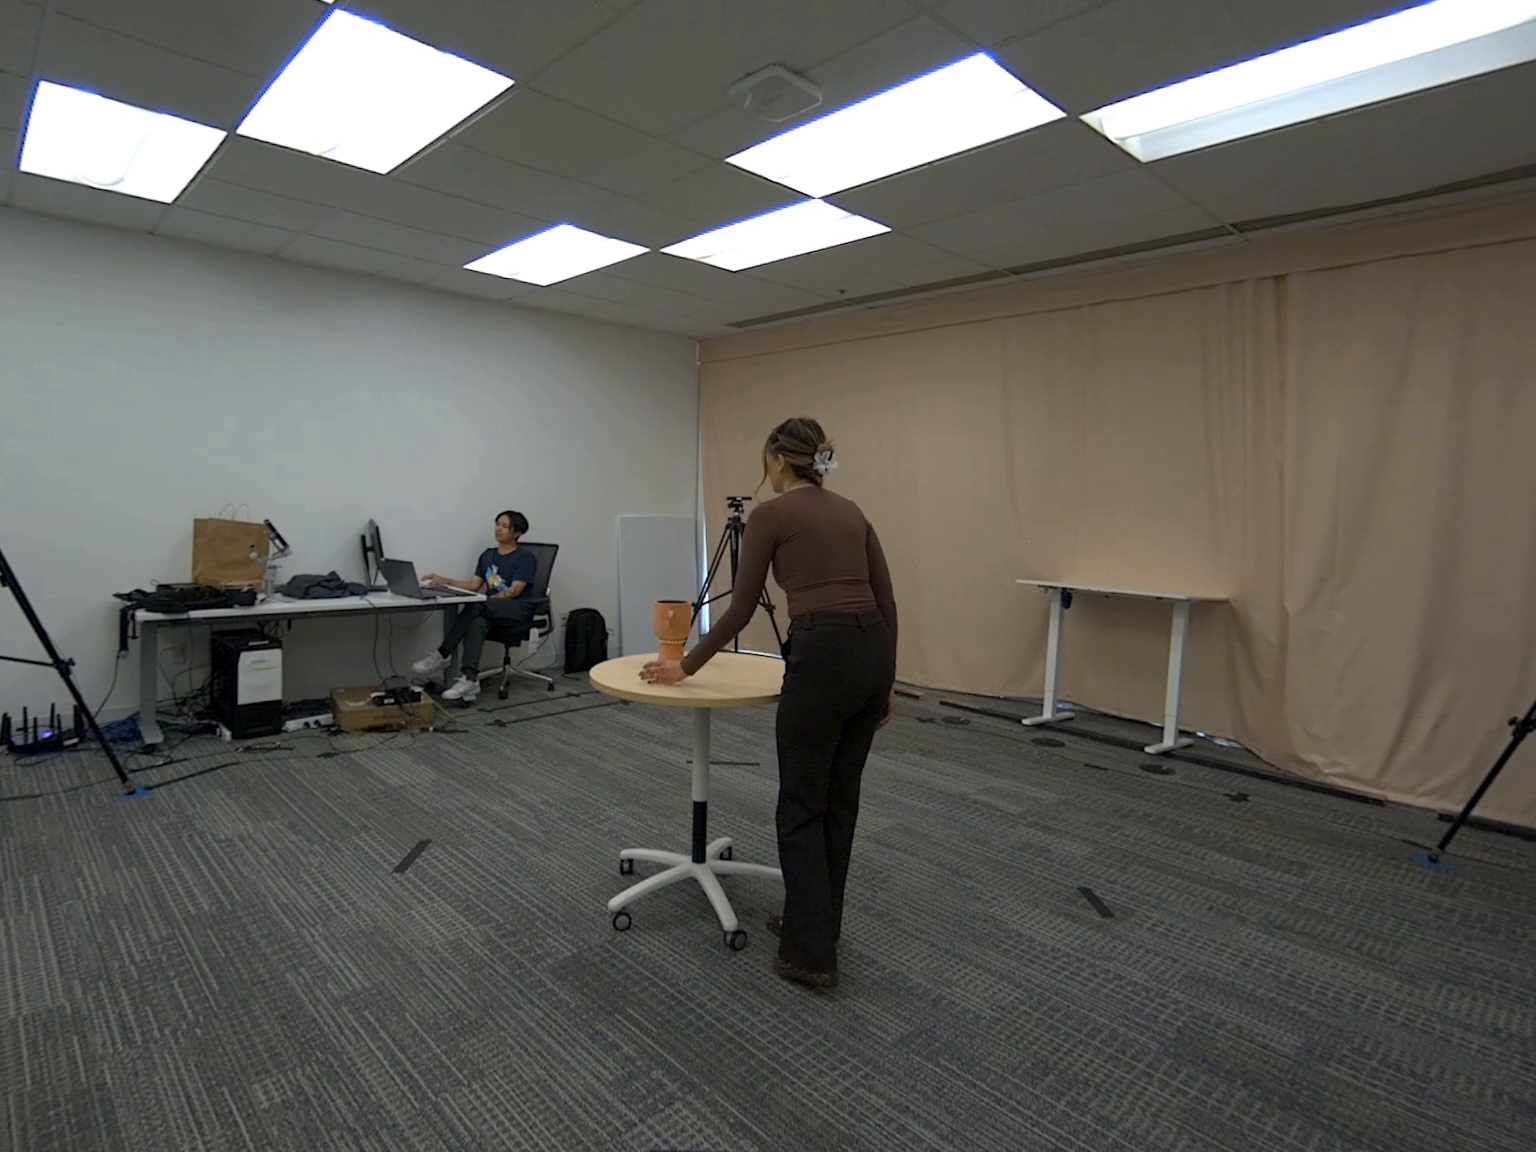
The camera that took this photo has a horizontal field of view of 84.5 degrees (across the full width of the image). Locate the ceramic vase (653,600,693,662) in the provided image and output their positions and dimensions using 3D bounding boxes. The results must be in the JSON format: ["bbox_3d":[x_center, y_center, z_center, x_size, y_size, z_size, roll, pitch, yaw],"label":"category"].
[{"bbox_3d":[-0.349,0.204,3.003,0.138,0.219,0.155,4,3,38],"label":"ceramic vase"}]
